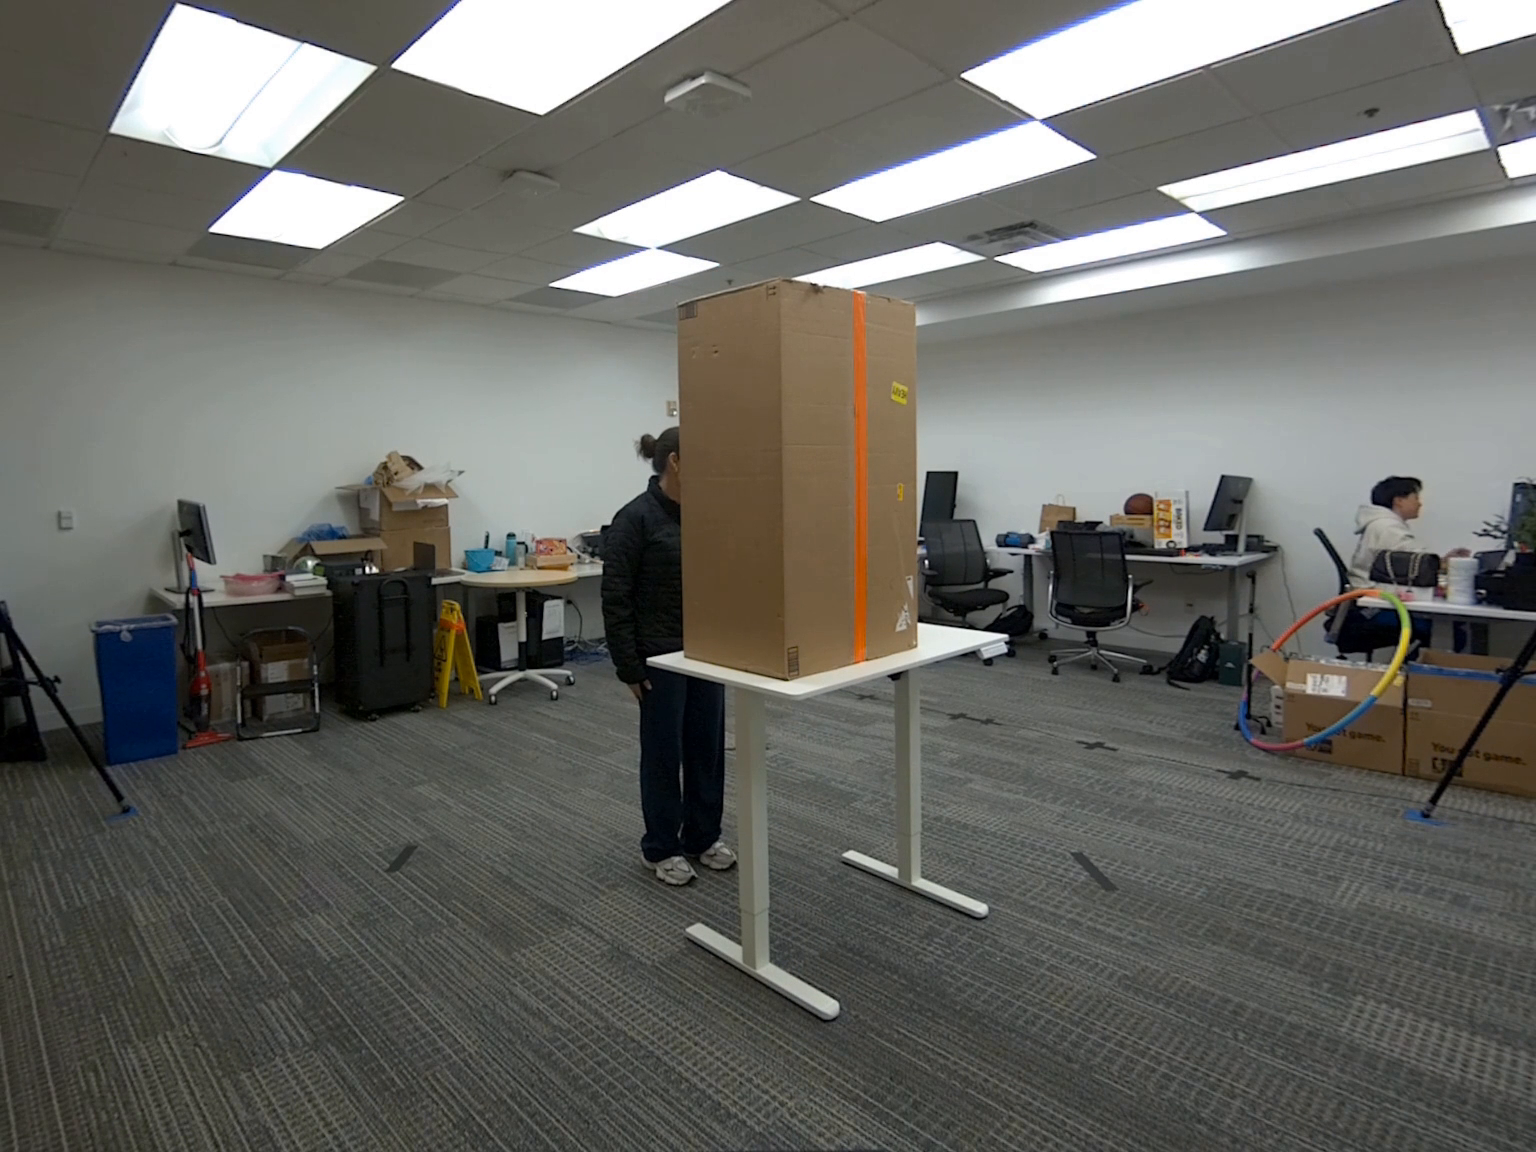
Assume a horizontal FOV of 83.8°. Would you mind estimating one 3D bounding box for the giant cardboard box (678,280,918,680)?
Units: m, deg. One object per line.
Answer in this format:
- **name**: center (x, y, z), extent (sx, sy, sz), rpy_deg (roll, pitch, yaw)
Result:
- **giant cardboard box**: center (0.096, -0.281, 2.510), extent (0.569, 1.022, 0.461), rpy_deg (-5, 7, -42)
